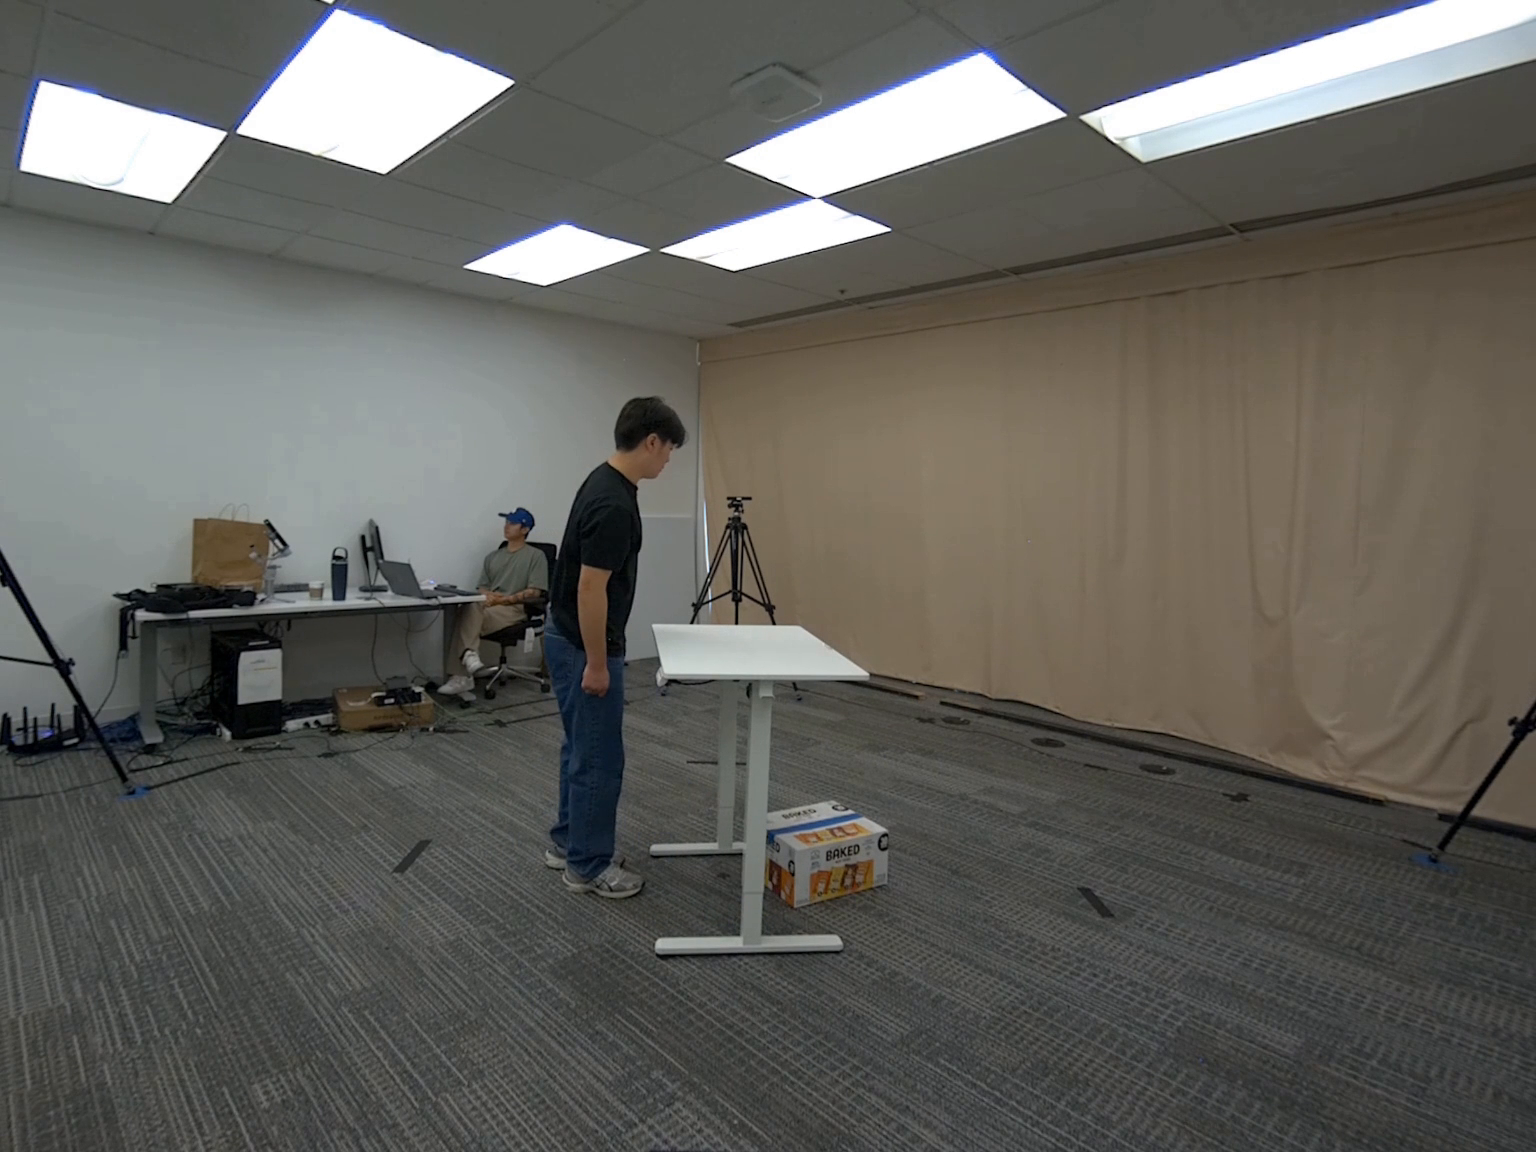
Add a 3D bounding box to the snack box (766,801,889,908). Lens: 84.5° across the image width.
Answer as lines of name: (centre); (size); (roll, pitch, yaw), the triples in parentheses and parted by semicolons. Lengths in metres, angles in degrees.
snack box: (0.173, 1.014, 3.095); (0.397, 0.205, 0.348); (-1, 5, -30)
